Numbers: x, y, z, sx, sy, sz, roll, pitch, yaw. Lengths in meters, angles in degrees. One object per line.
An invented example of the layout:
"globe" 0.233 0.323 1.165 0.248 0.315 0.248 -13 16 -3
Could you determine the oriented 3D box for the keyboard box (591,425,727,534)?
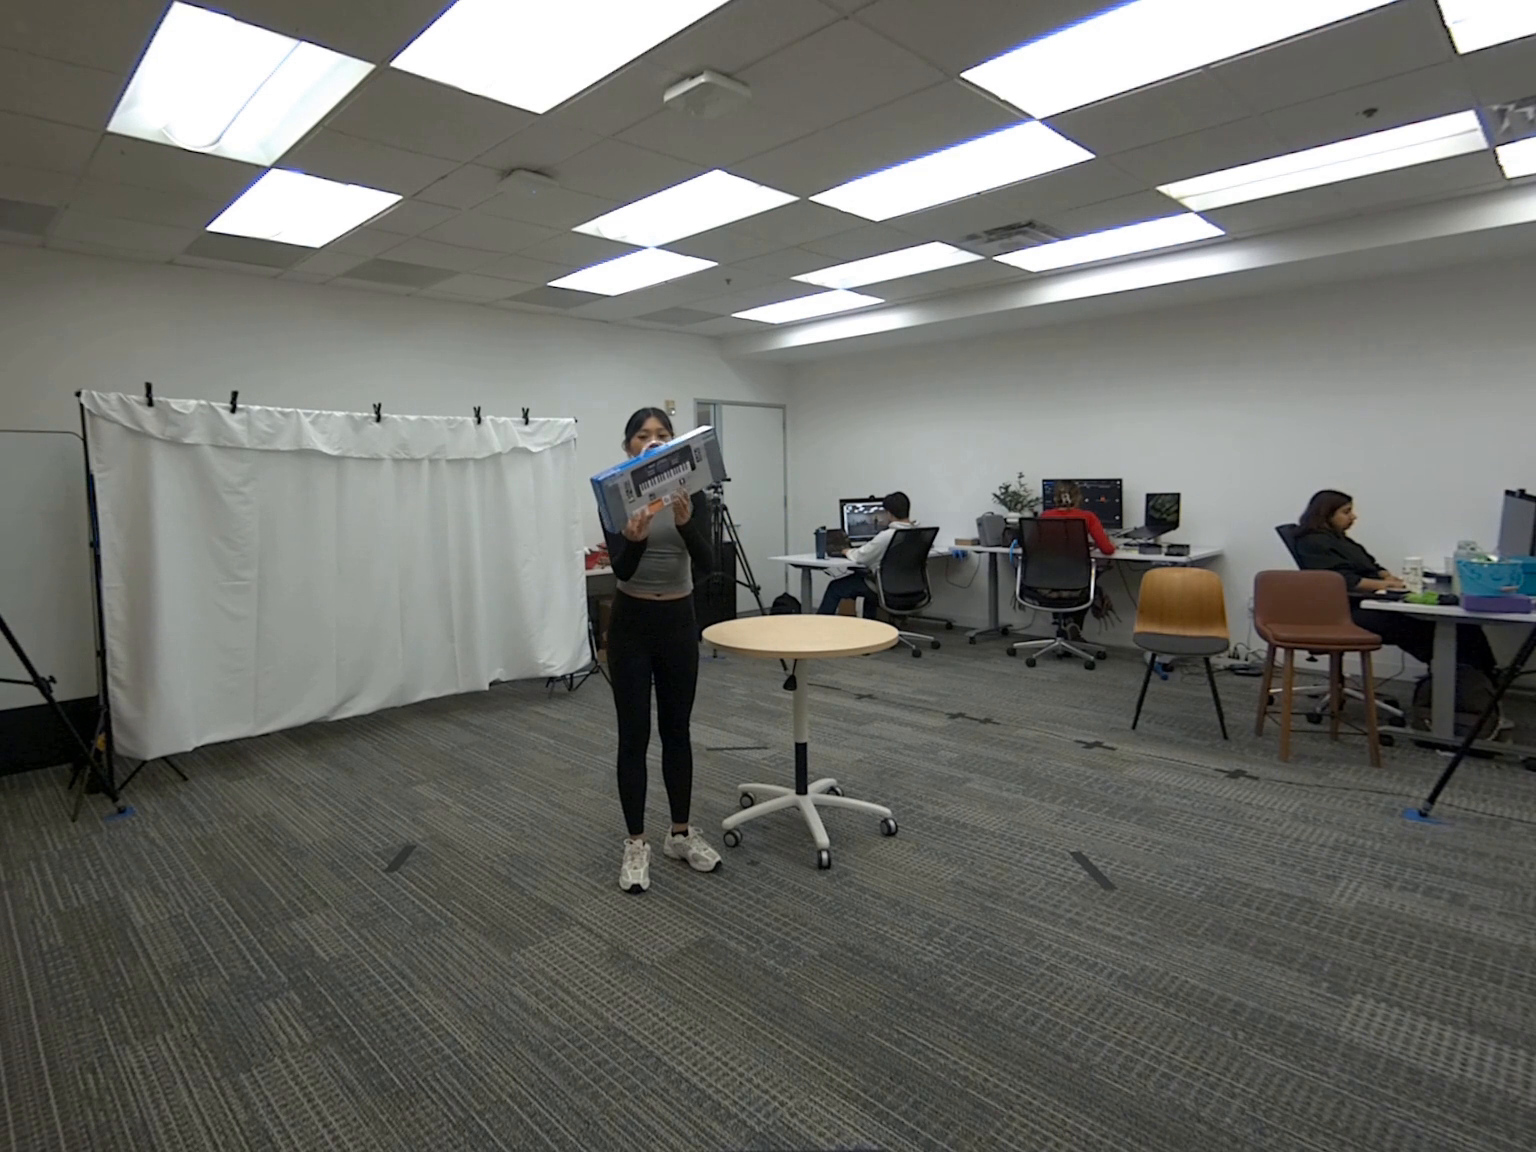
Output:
"keyboard box" -0.325 -0.300 2.613 0.432 0.171 0.061 -31 29 -31
